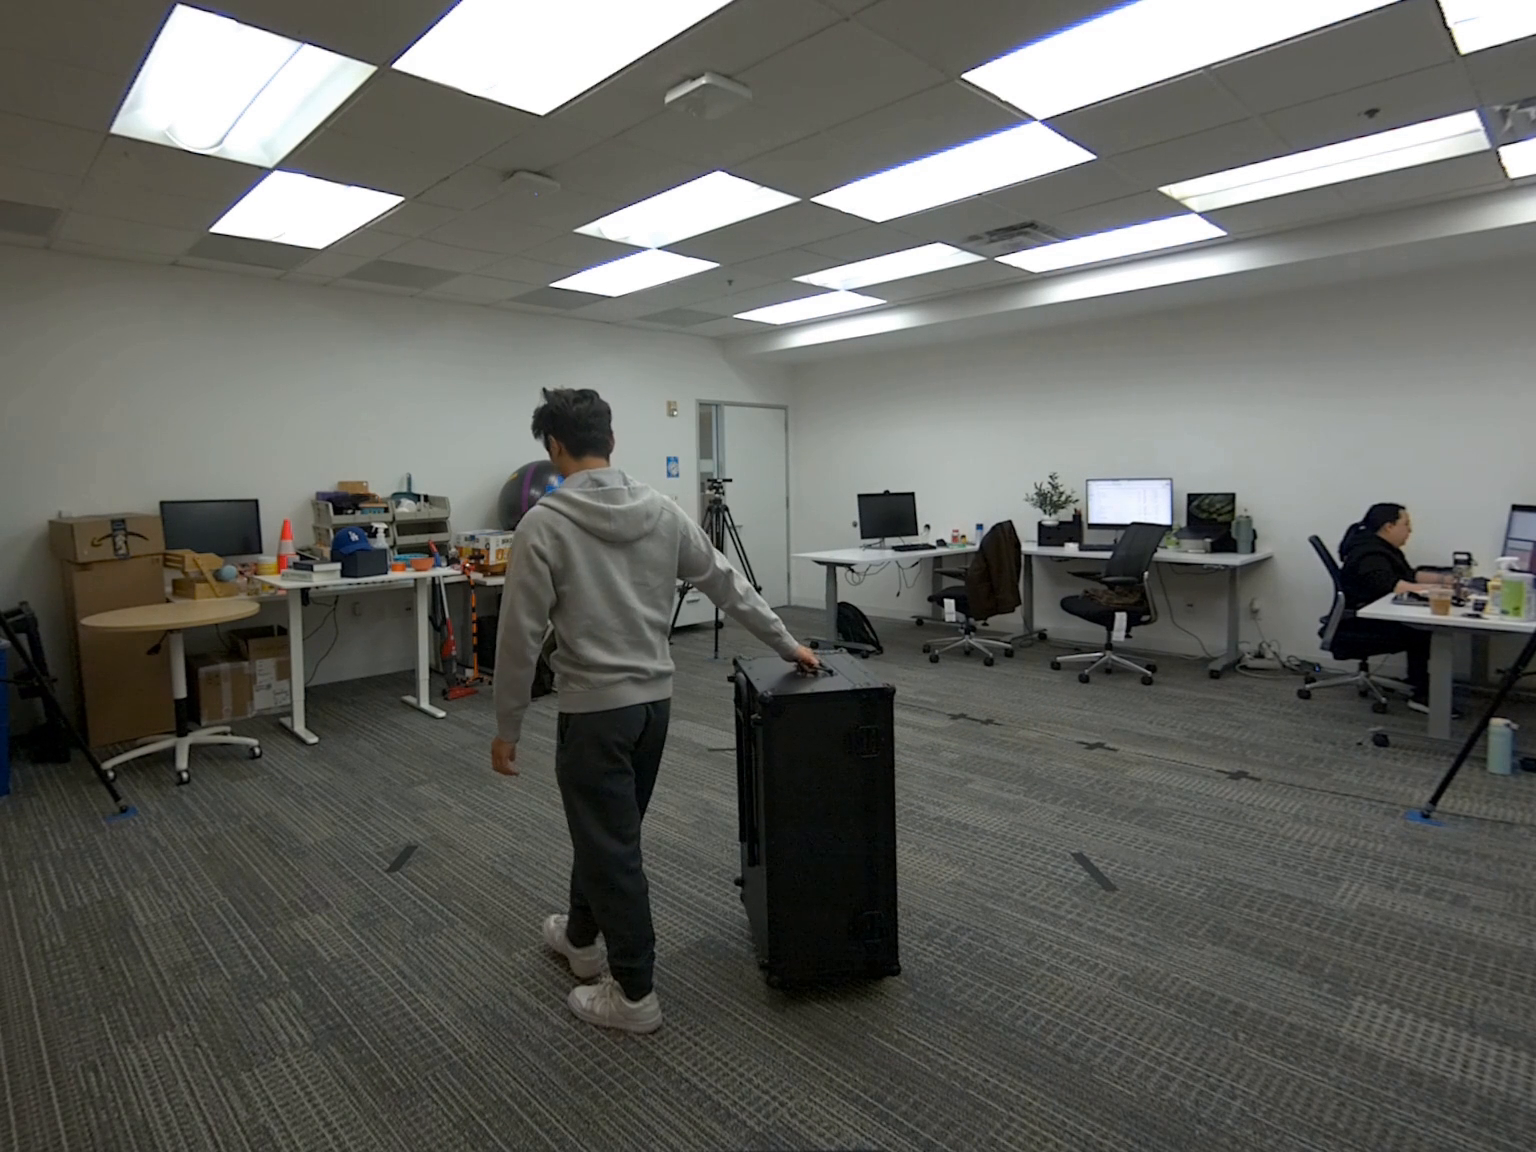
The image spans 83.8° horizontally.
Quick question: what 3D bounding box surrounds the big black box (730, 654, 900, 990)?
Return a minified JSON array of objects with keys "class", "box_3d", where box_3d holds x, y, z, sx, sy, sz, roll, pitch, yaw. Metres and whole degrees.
[{"class":"big black box","box_3d":[0.118,0.696,2.462,0.393,0.857,0.528,-3,5,-9]}]
